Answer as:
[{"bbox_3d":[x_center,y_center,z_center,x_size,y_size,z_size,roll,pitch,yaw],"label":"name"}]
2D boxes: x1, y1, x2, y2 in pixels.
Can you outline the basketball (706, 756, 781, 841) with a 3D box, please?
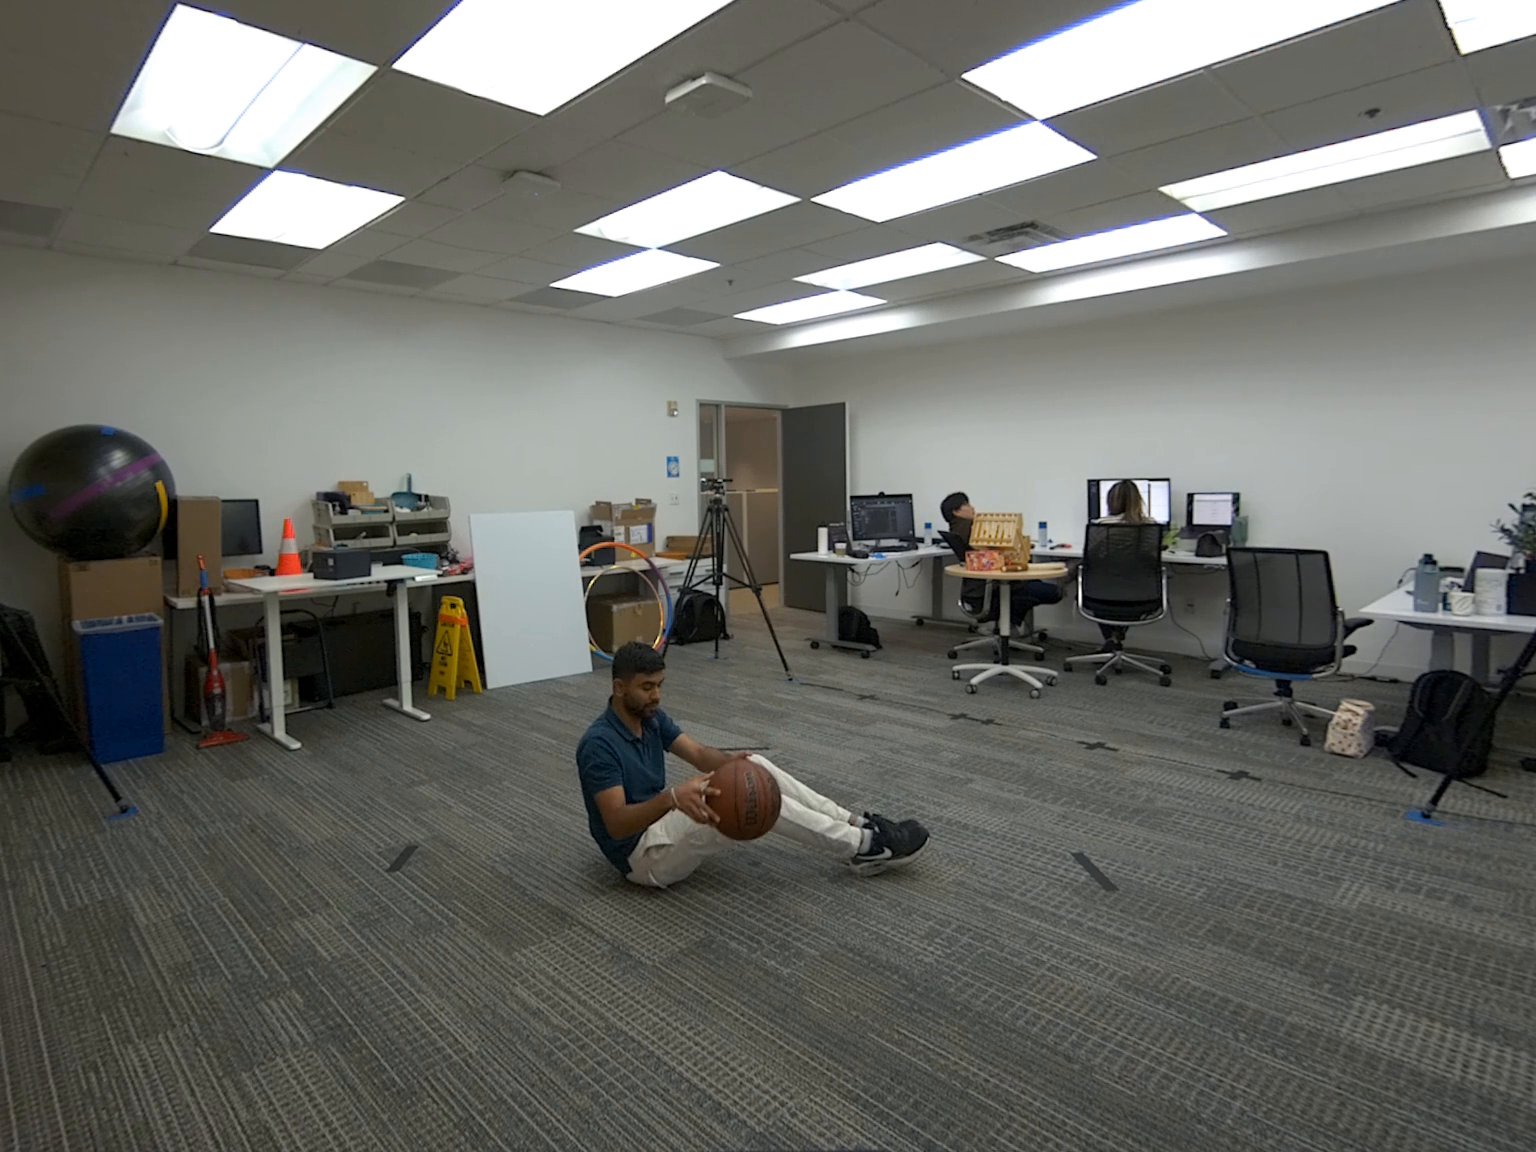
[{"bbox_3d":[-0.072,0.695,2.649,0.236,0.235,0.237,-1,5,-2],"label":"basketball"}]
